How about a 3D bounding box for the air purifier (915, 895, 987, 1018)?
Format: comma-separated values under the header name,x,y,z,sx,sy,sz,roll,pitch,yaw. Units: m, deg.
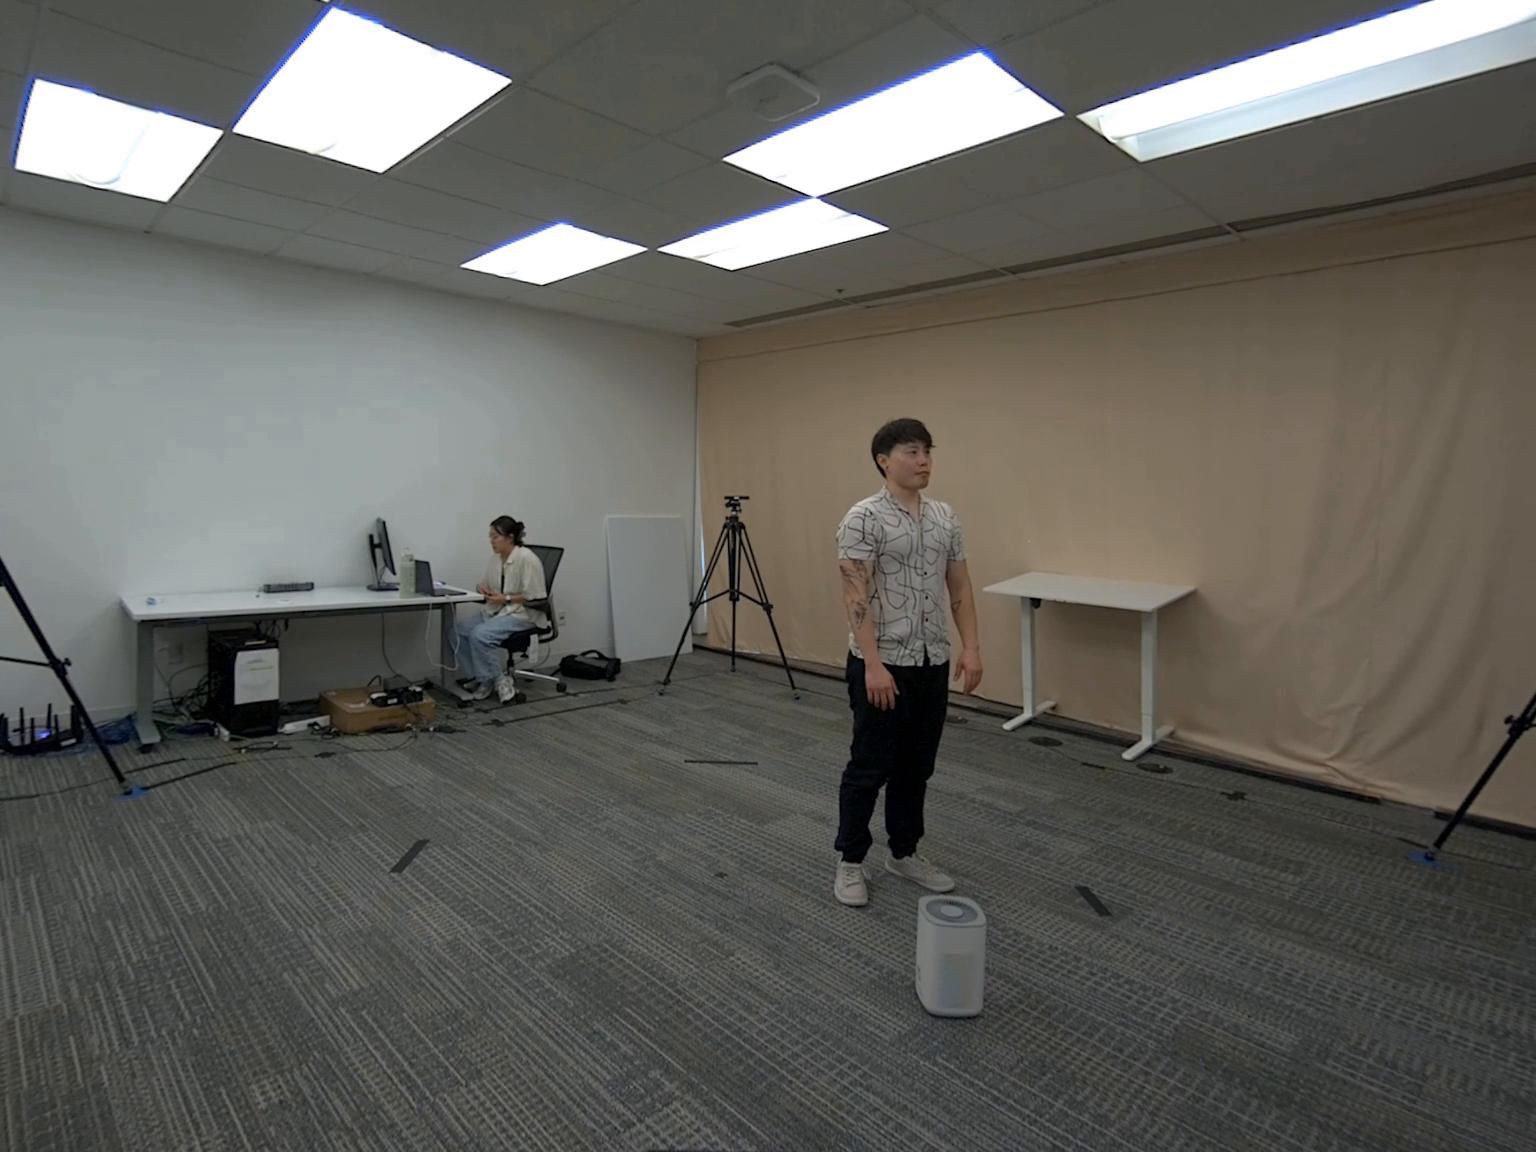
name,x,y,z,sx,sy,sz,roll,pitch,yaw
air purifier,0.504,1.060,2.334,0.171,0.264,0.172,1,4,-3
